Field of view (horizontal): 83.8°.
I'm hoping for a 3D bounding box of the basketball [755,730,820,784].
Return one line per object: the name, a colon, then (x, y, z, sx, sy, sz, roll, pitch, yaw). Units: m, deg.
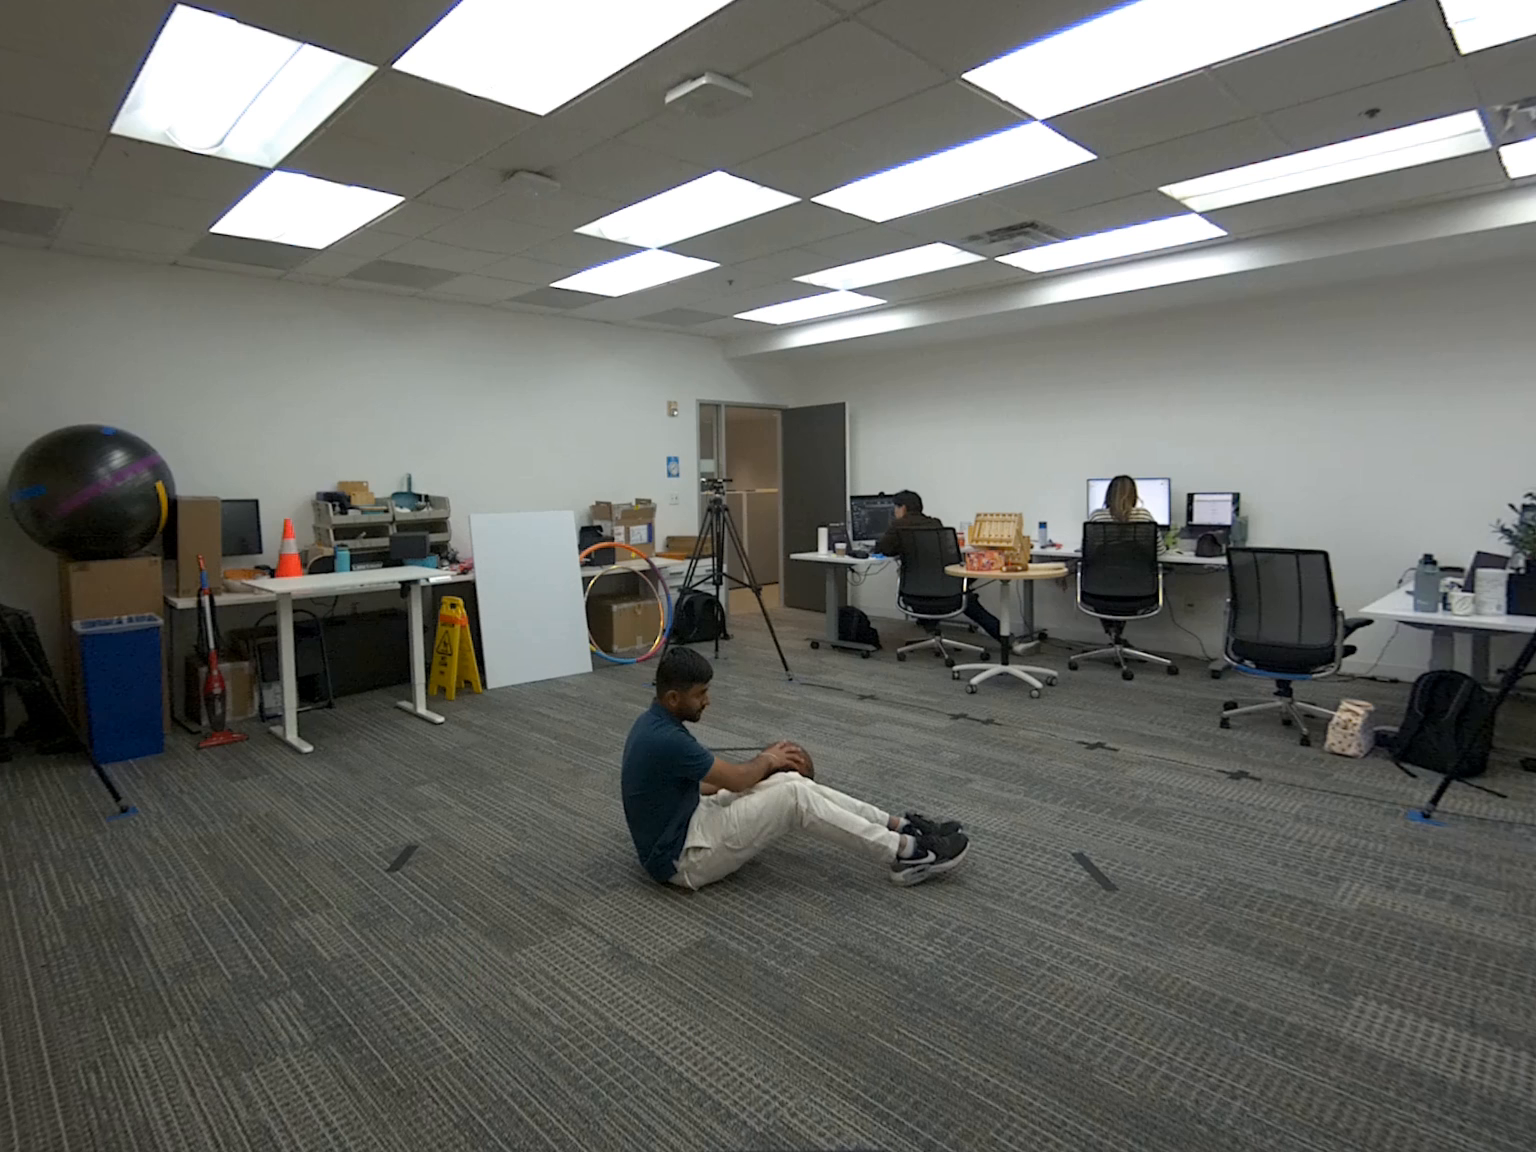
basketball: (0.072, 0.765, 3.406, 0.236, 0.235, 0.237, -1, 5, -2)
